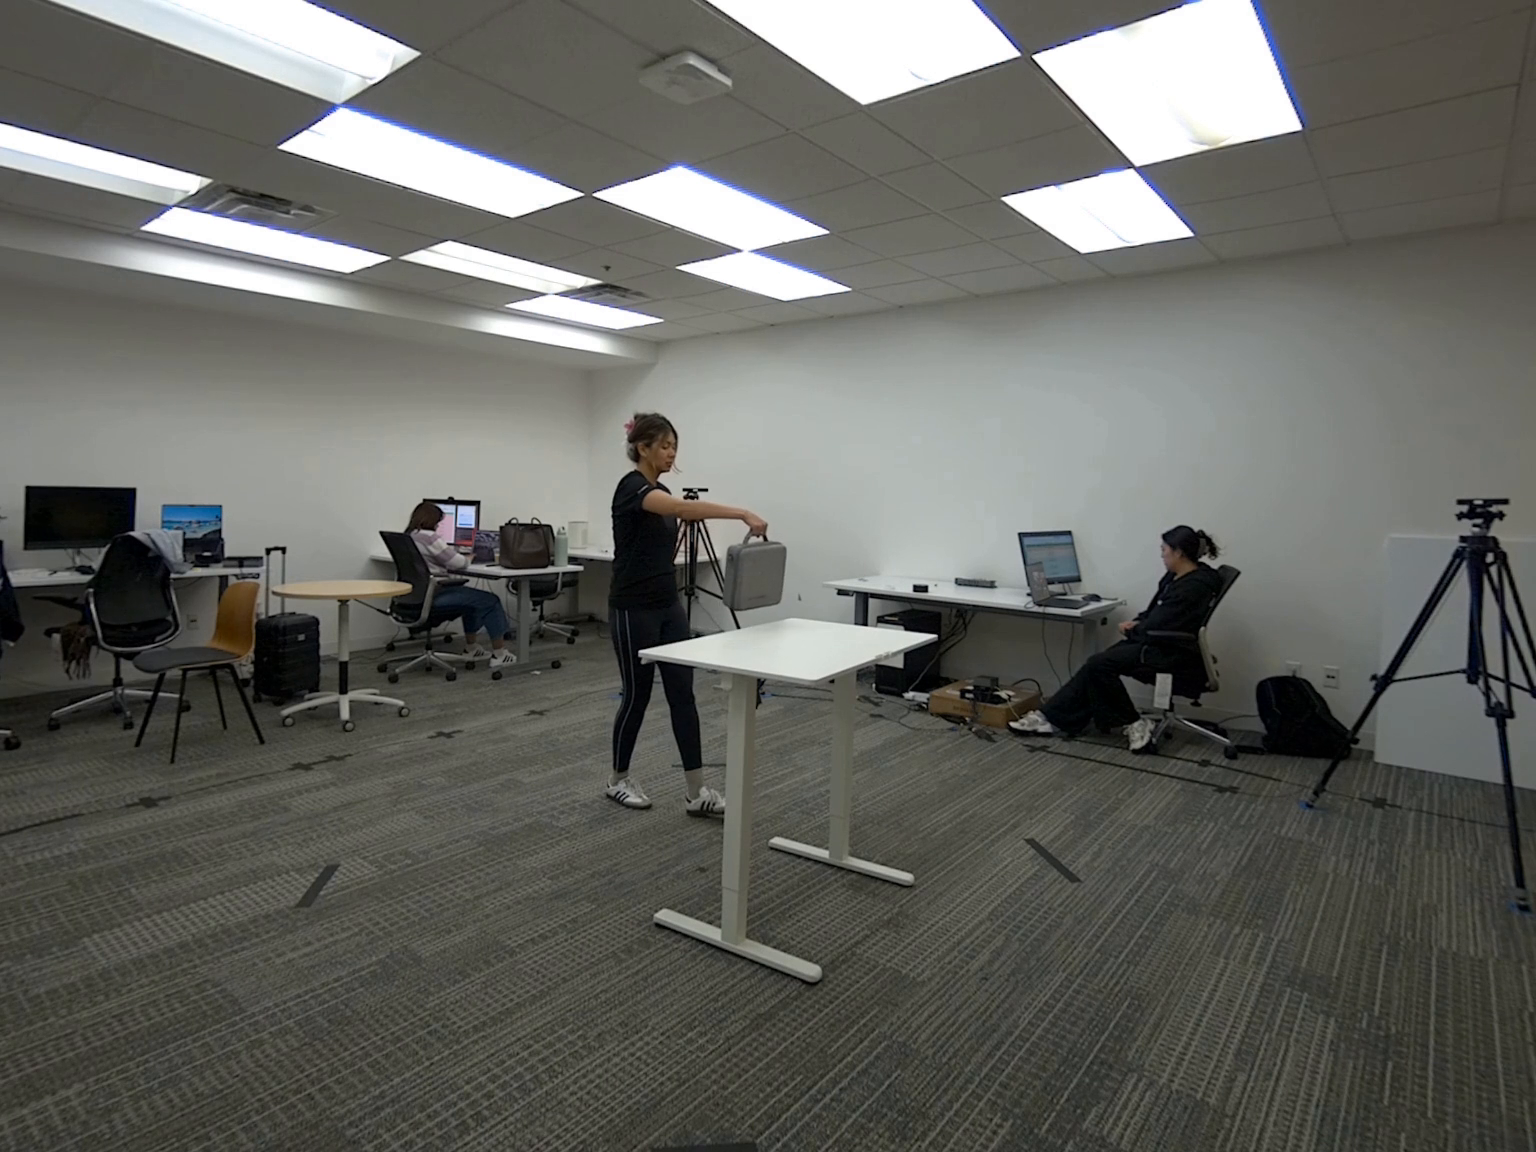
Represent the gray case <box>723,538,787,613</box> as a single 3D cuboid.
[{"bbox_3d":[-0.061,-0.005,3.313,0.249,0.258,0.108,-5,14,-42],"label":"gray case"}]
